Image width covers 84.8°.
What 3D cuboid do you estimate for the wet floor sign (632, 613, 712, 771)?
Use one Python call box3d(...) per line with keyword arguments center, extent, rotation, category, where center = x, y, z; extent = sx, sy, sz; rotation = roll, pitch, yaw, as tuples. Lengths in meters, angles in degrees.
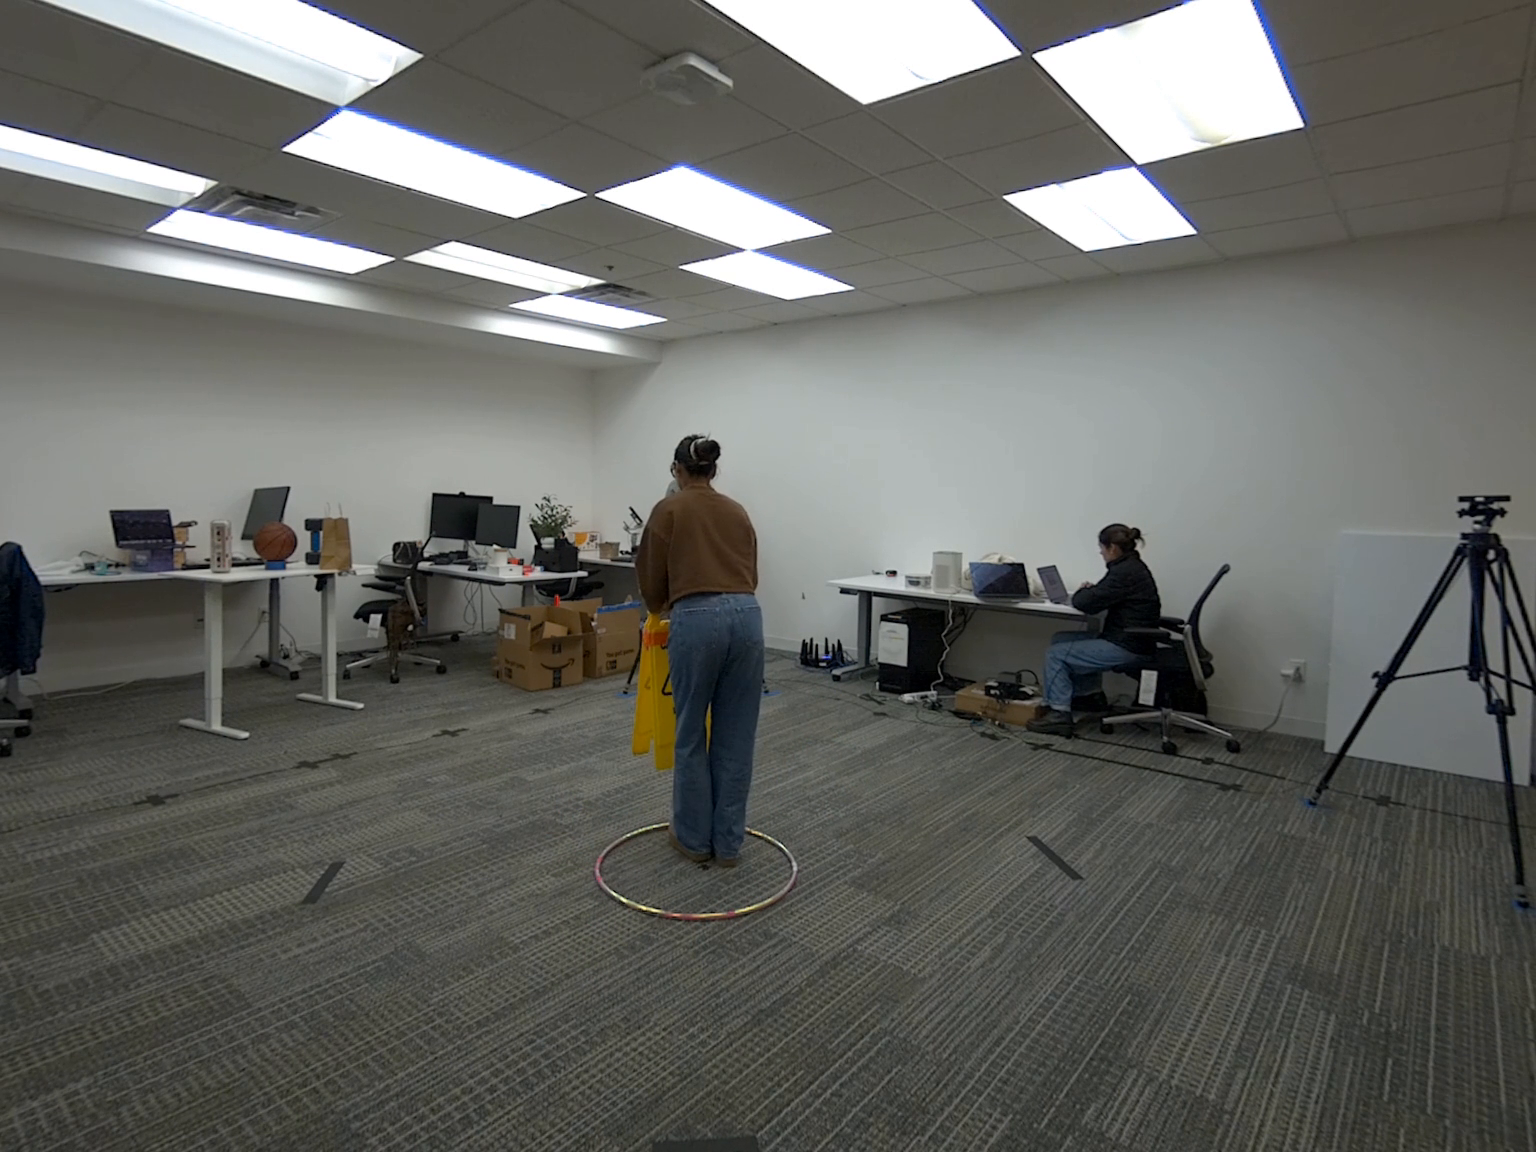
box3d(center=(-0.412, 0.425, 3.505), extent=(0.275, 0.645, 0.298), rotation=(-1, 1, -29), category="wet floor sign")
